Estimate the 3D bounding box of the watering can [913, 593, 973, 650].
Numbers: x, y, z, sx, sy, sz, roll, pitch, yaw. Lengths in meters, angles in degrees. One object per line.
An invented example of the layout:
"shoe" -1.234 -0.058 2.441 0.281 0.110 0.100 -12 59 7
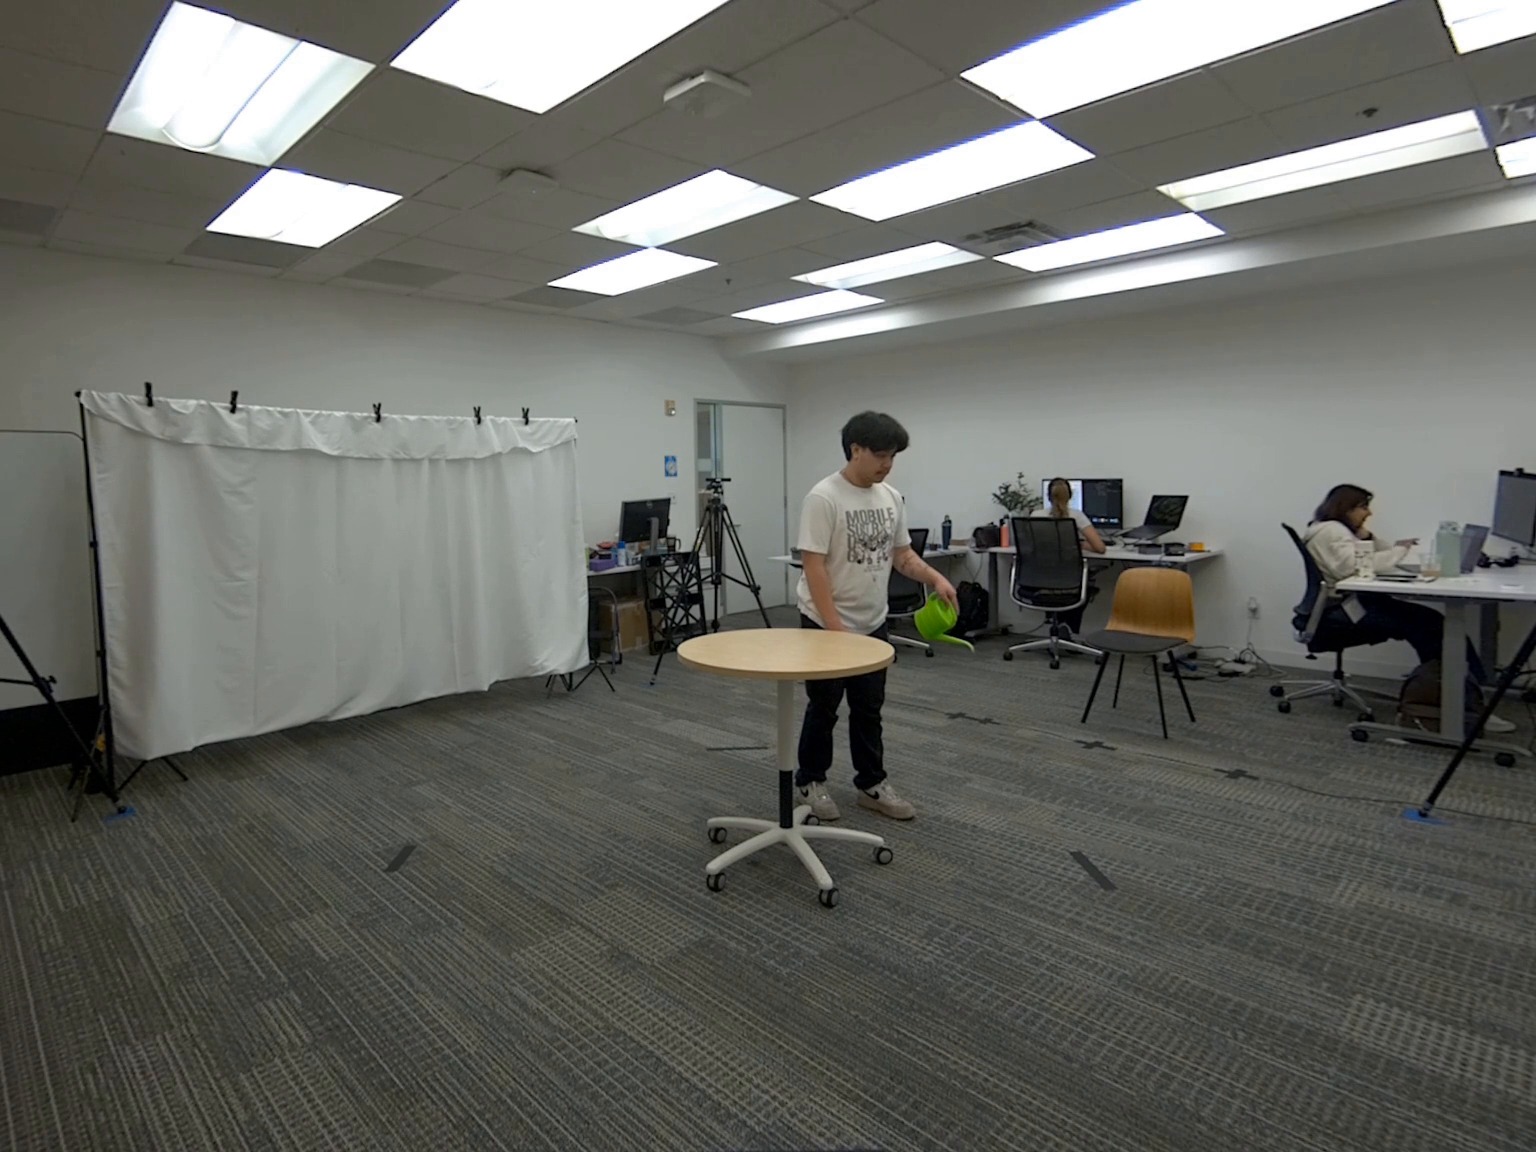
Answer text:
"watering can" 0.689 0.204 3.424 0.095 0.286 0.177 12 -36 -32
